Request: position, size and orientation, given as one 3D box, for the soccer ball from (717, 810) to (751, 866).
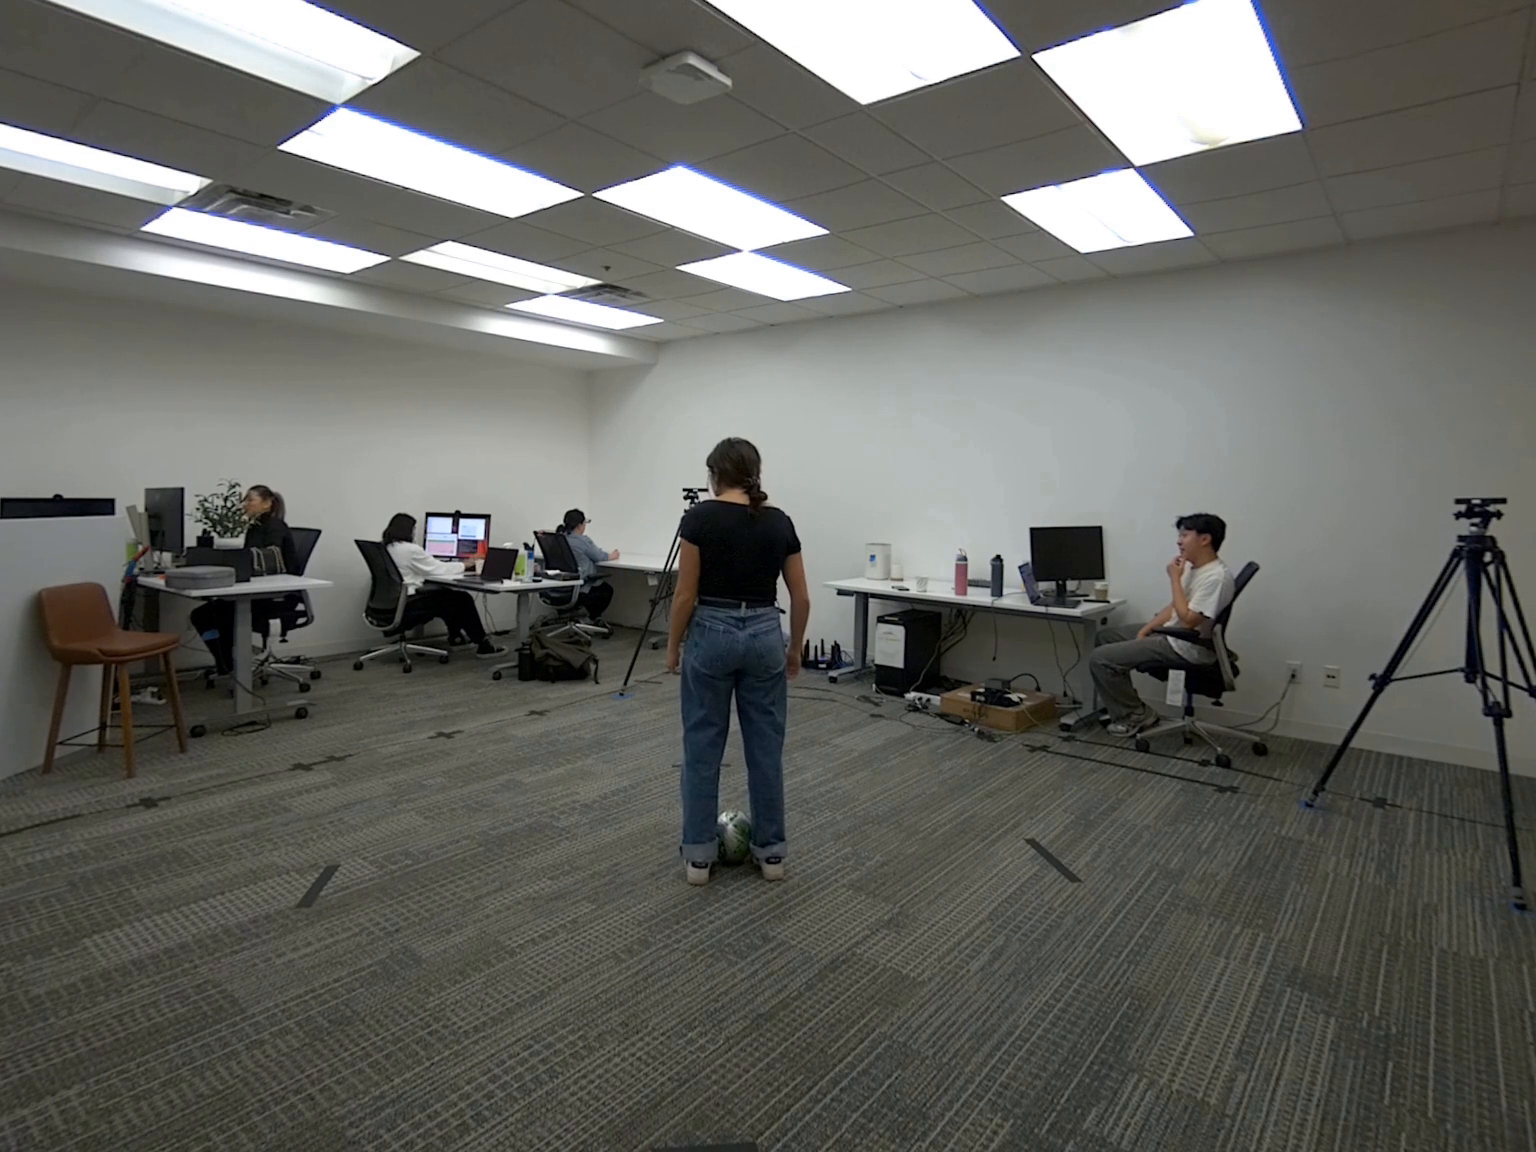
[{"bbox_3d":[-0.141,0.972,3.188,0.187,0.187,0.188,1,4,-2],"label":"soccer ball"}]
